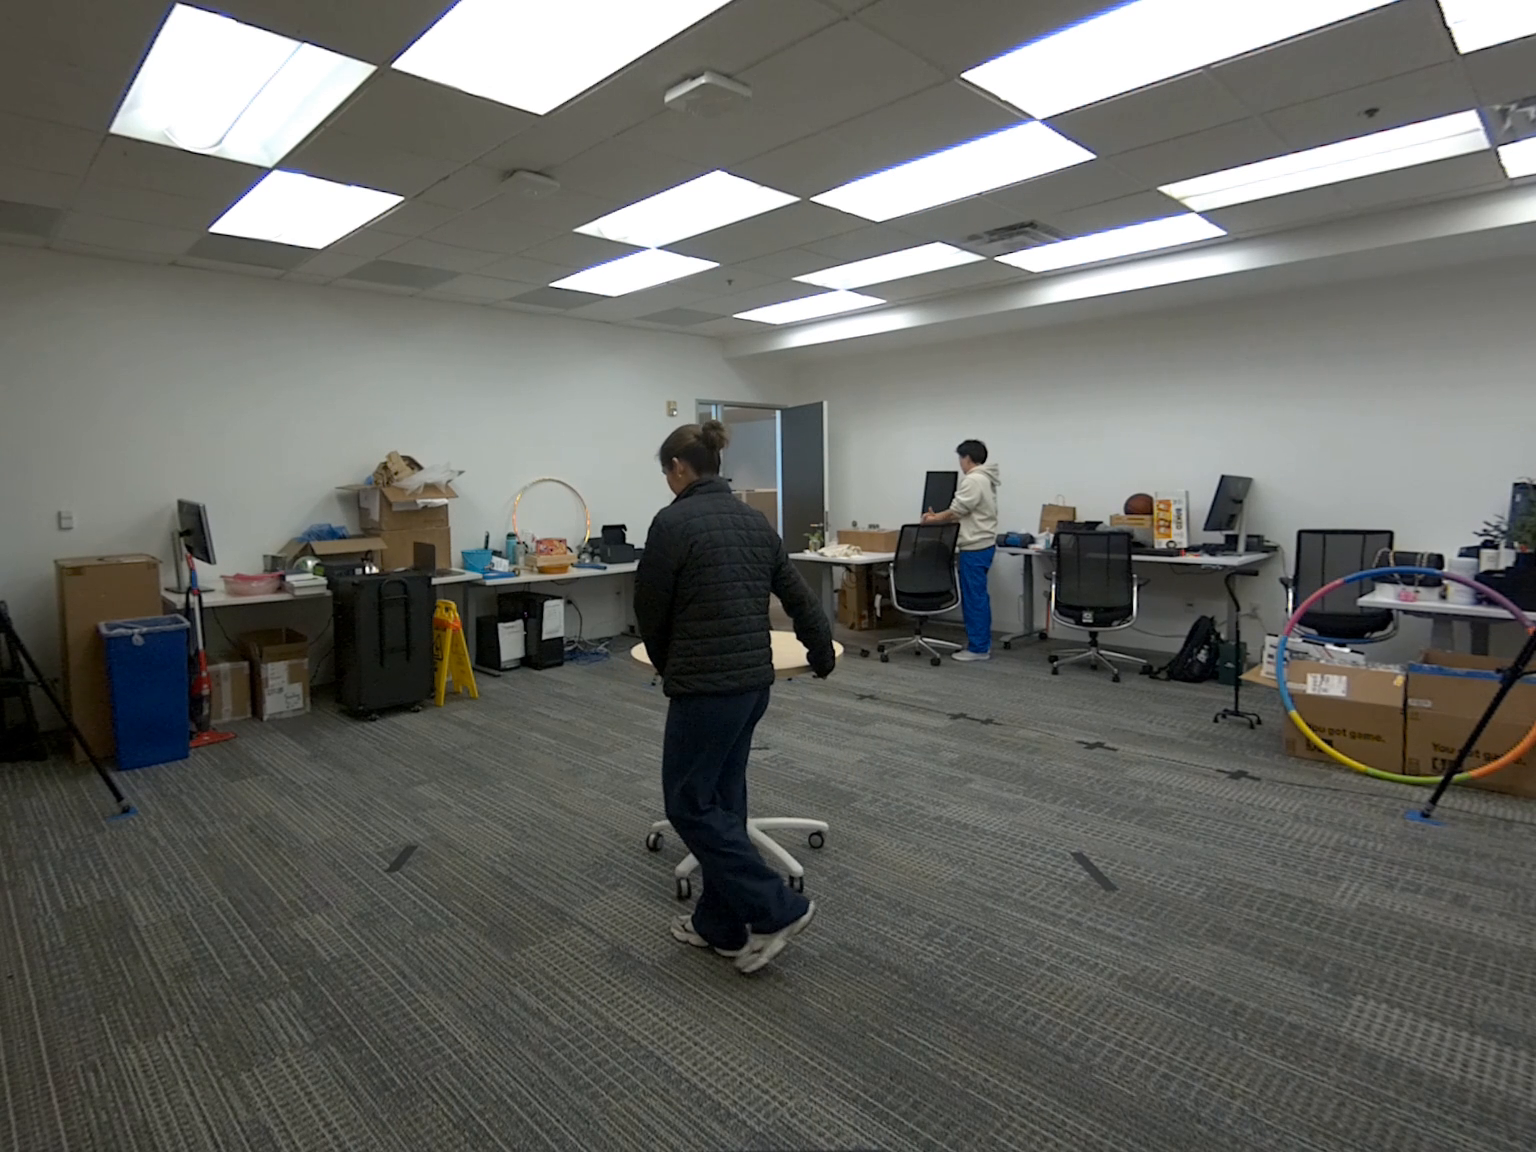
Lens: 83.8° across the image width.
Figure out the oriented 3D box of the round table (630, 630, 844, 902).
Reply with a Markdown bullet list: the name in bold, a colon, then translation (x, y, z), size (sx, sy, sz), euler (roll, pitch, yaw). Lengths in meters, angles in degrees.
- **round table**: translation (-0.104, 0.648, 3.151), size (0.784, 0.783, 0.789), euler (-1, 5, -2)
